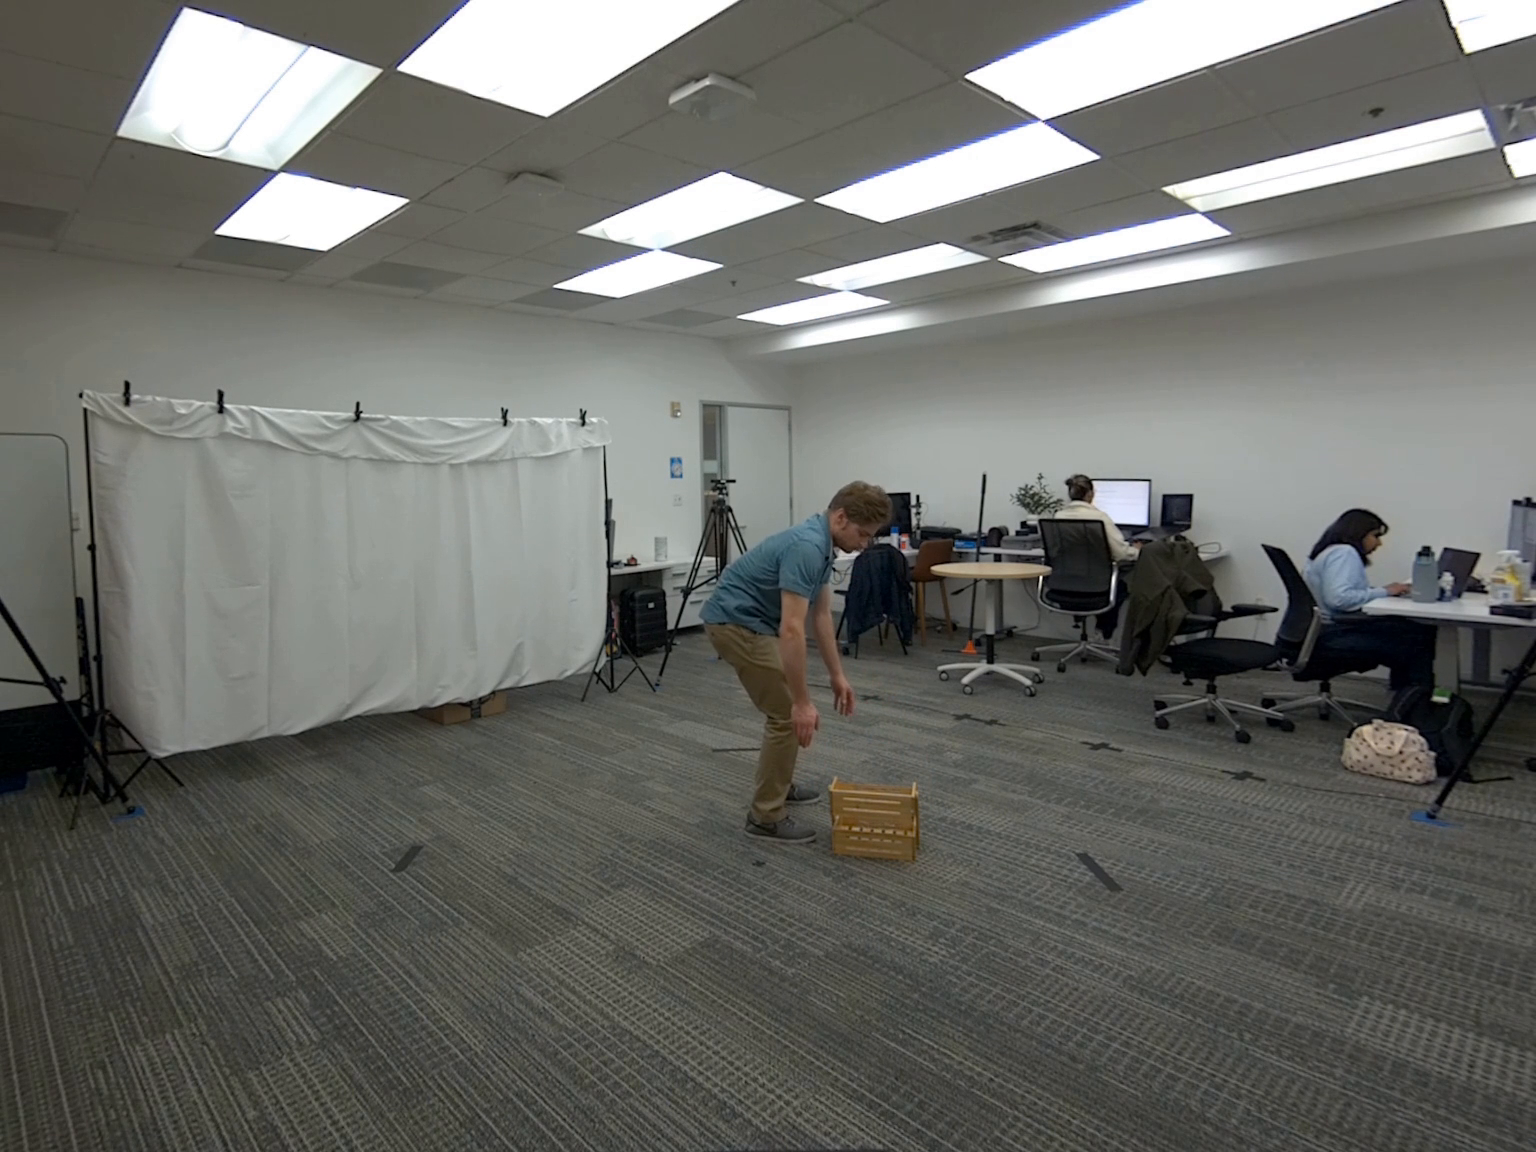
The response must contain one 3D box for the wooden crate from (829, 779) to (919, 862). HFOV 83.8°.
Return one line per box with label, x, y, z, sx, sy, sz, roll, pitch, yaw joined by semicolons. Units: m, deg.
wooden crate;0.410;0.891;3.236;0.329;0.272;0.299;0;5;13
